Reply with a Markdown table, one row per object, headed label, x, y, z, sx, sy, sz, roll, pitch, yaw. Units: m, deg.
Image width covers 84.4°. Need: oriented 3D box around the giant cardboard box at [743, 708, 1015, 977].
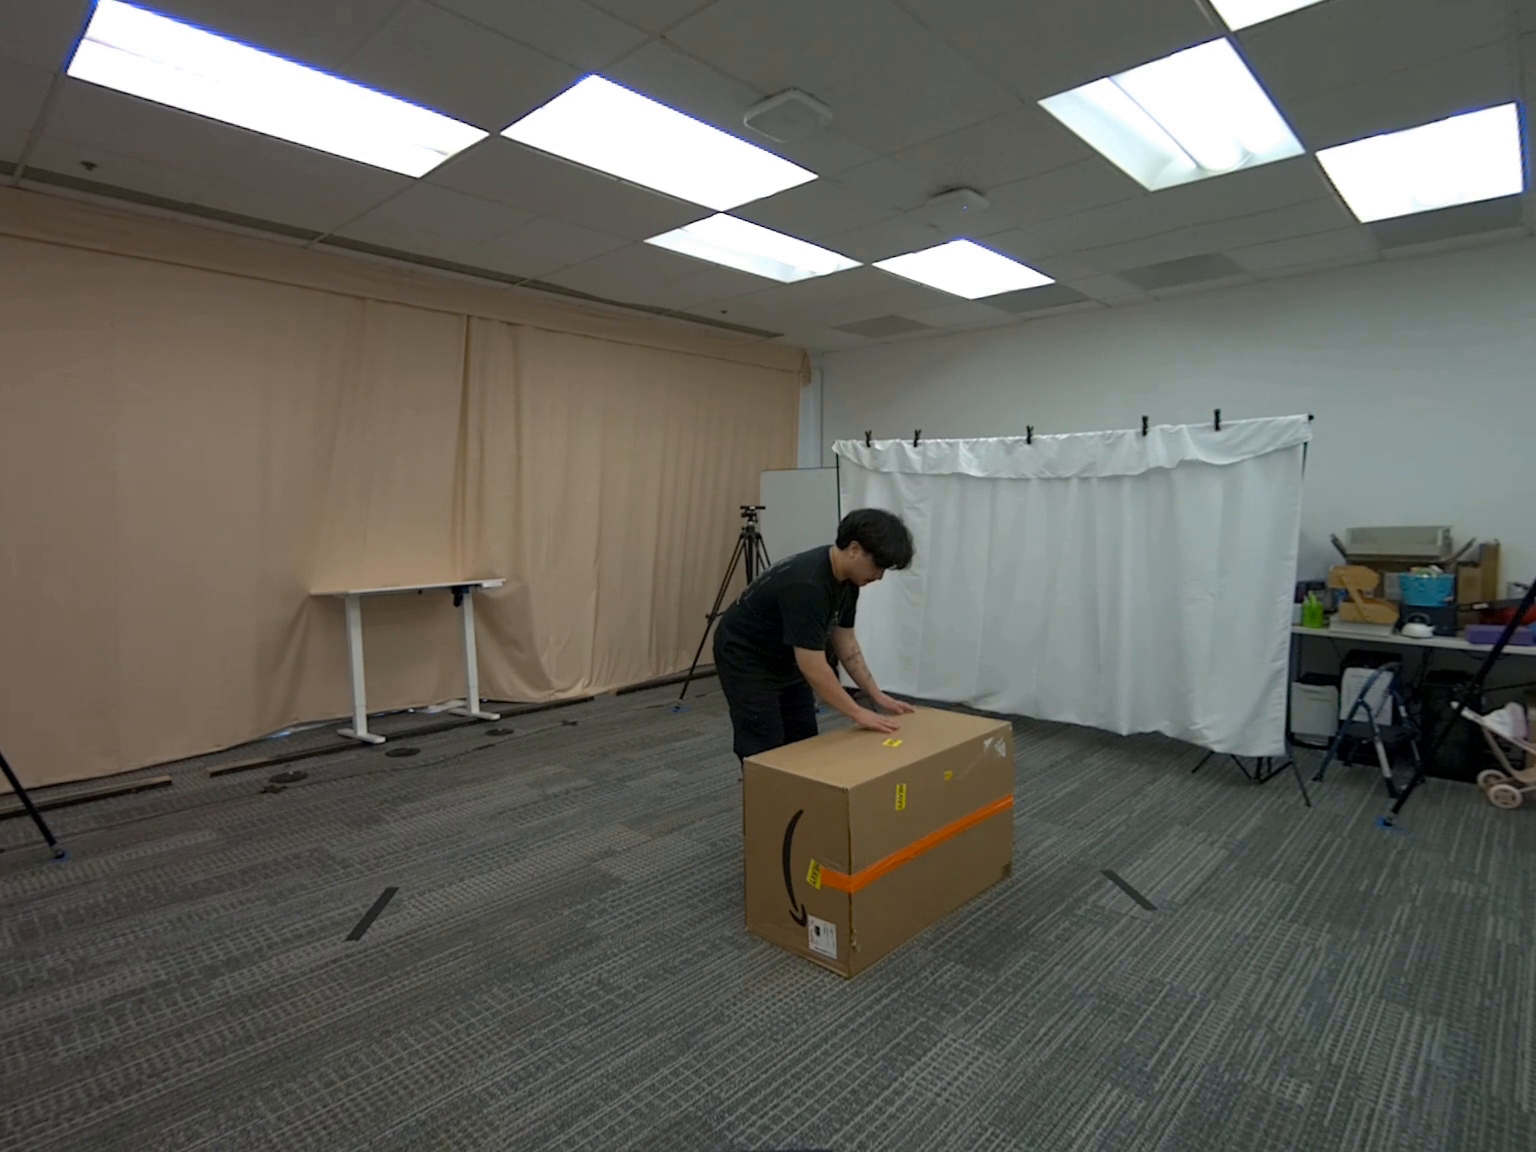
| label | x | y | z | sx | sy | sz | roll | pitch | yaw |
| --- | --- | --- | --- | --- | --- | --- | --- | --- | --- |
| giant cardboard box | 0.429 | 0.861 | 2.953 | 0.462 | 0.582 | 0.996 | 4 | 7 | 43 |
